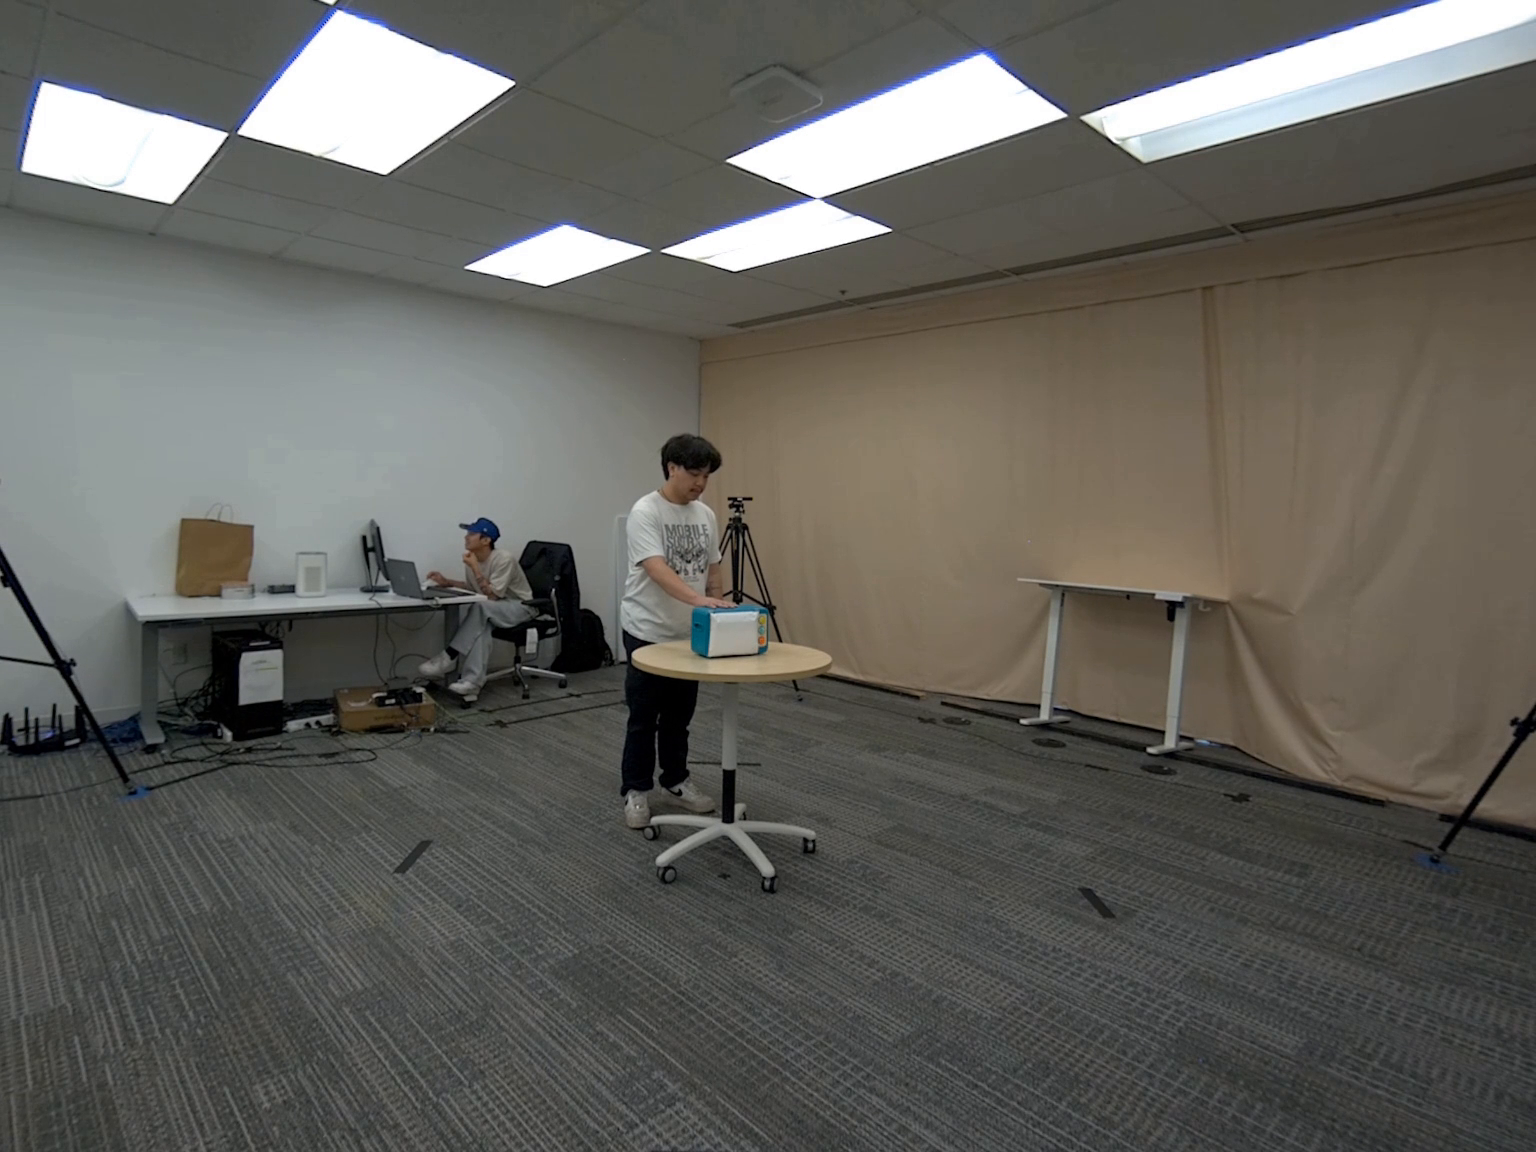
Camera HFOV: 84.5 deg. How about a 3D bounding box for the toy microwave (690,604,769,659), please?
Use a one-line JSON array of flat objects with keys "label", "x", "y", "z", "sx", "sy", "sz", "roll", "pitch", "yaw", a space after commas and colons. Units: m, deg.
[{"label": "toy microwave", "x": -0.149, "y": 0.210, "z": 3.238, "sx": 0.280, "sy": 0.184, "sz": 0.156, "roll": -1, "pitch": 3, "yaw": -30}]
